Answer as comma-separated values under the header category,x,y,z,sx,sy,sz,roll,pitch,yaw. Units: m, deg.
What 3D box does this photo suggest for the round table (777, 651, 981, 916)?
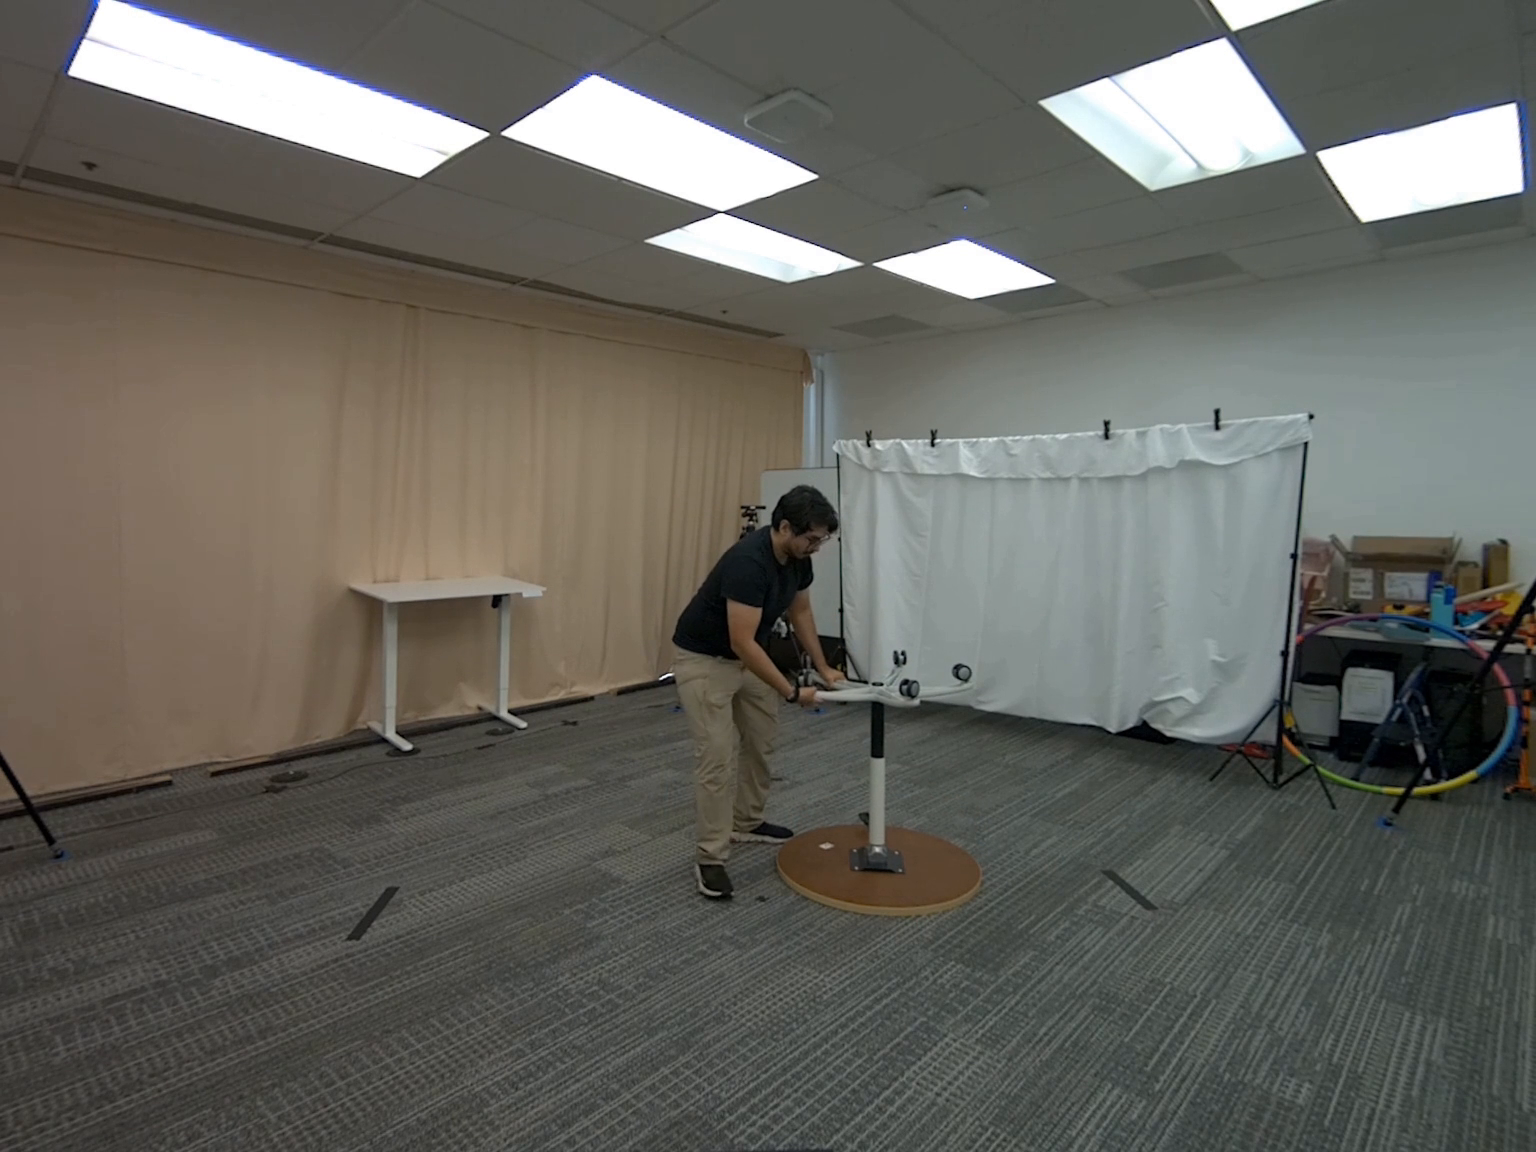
category,x,y,z,sx,sy,sz,roll,pitch,yaw
round table,0.427,0.727,3.200,0.784,0.784,0.788,-1,4,-2
